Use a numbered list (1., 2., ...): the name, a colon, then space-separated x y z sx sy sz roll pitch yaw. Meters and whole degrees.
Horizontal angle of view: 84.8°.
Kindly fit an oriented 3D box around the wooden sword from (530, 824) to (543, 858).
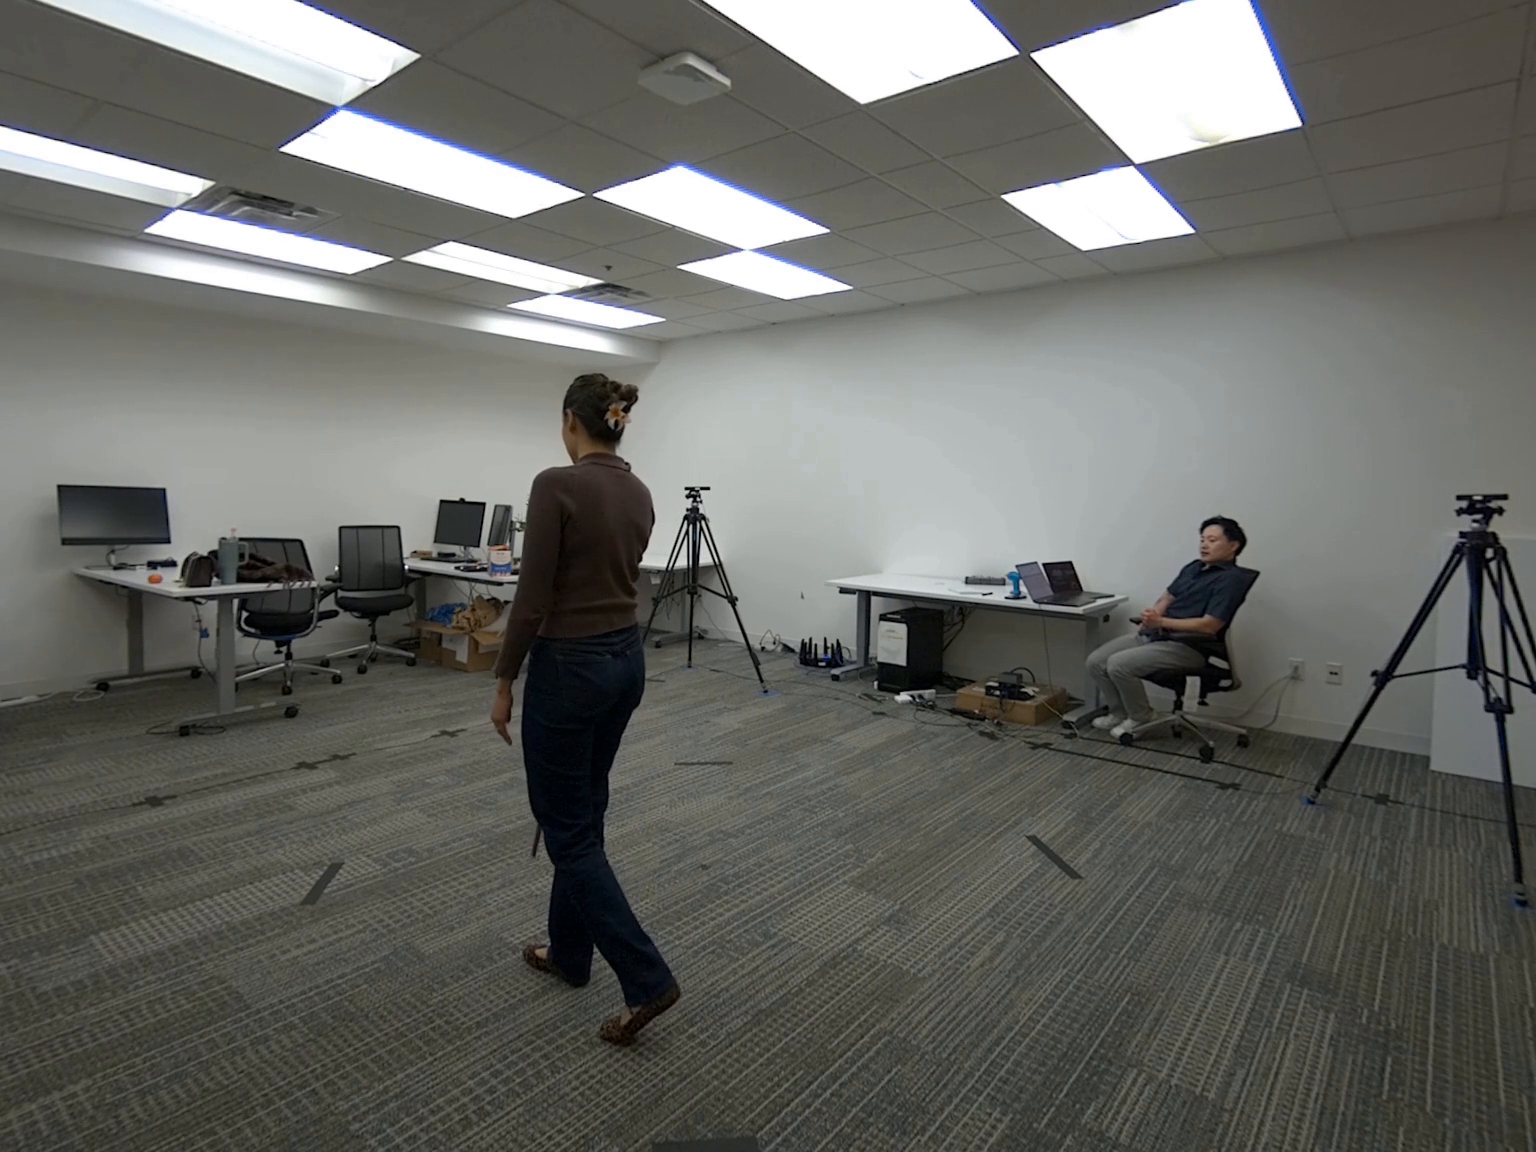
1. wooden sword: -0.750 0.690 2.873 0.050 1.011 0.025 -20 56 -42
